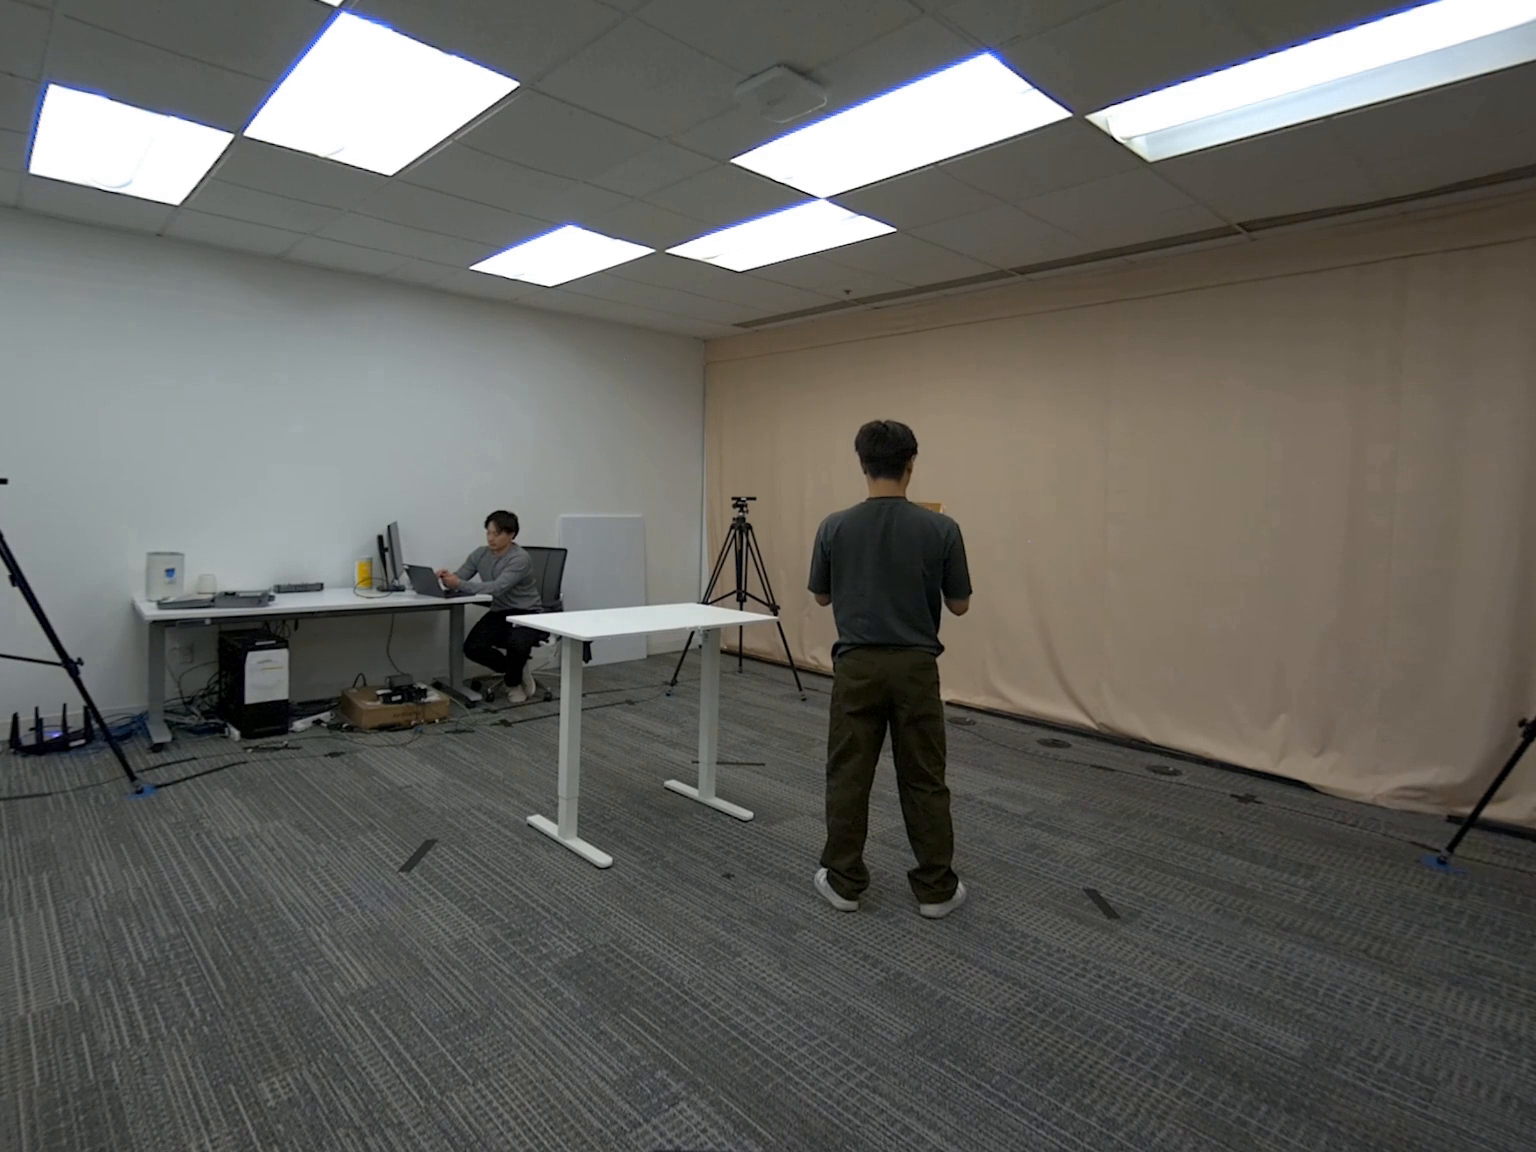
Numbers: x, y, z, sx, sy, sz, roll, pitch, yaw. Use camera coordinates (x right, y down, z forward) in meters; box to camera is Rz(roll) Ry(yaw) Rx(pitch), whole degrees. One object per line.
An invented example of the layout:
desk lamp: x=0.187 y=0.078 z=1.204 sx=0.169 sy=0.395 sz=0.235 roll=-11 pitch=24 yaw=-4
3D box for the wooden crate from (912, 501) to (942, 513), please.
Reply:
wooden crate: x=0.513 y=-0.134 z=3.220 sx=0.328 sy=0.270 sz=0.302 roll=4 pitch=15 yaw=12
